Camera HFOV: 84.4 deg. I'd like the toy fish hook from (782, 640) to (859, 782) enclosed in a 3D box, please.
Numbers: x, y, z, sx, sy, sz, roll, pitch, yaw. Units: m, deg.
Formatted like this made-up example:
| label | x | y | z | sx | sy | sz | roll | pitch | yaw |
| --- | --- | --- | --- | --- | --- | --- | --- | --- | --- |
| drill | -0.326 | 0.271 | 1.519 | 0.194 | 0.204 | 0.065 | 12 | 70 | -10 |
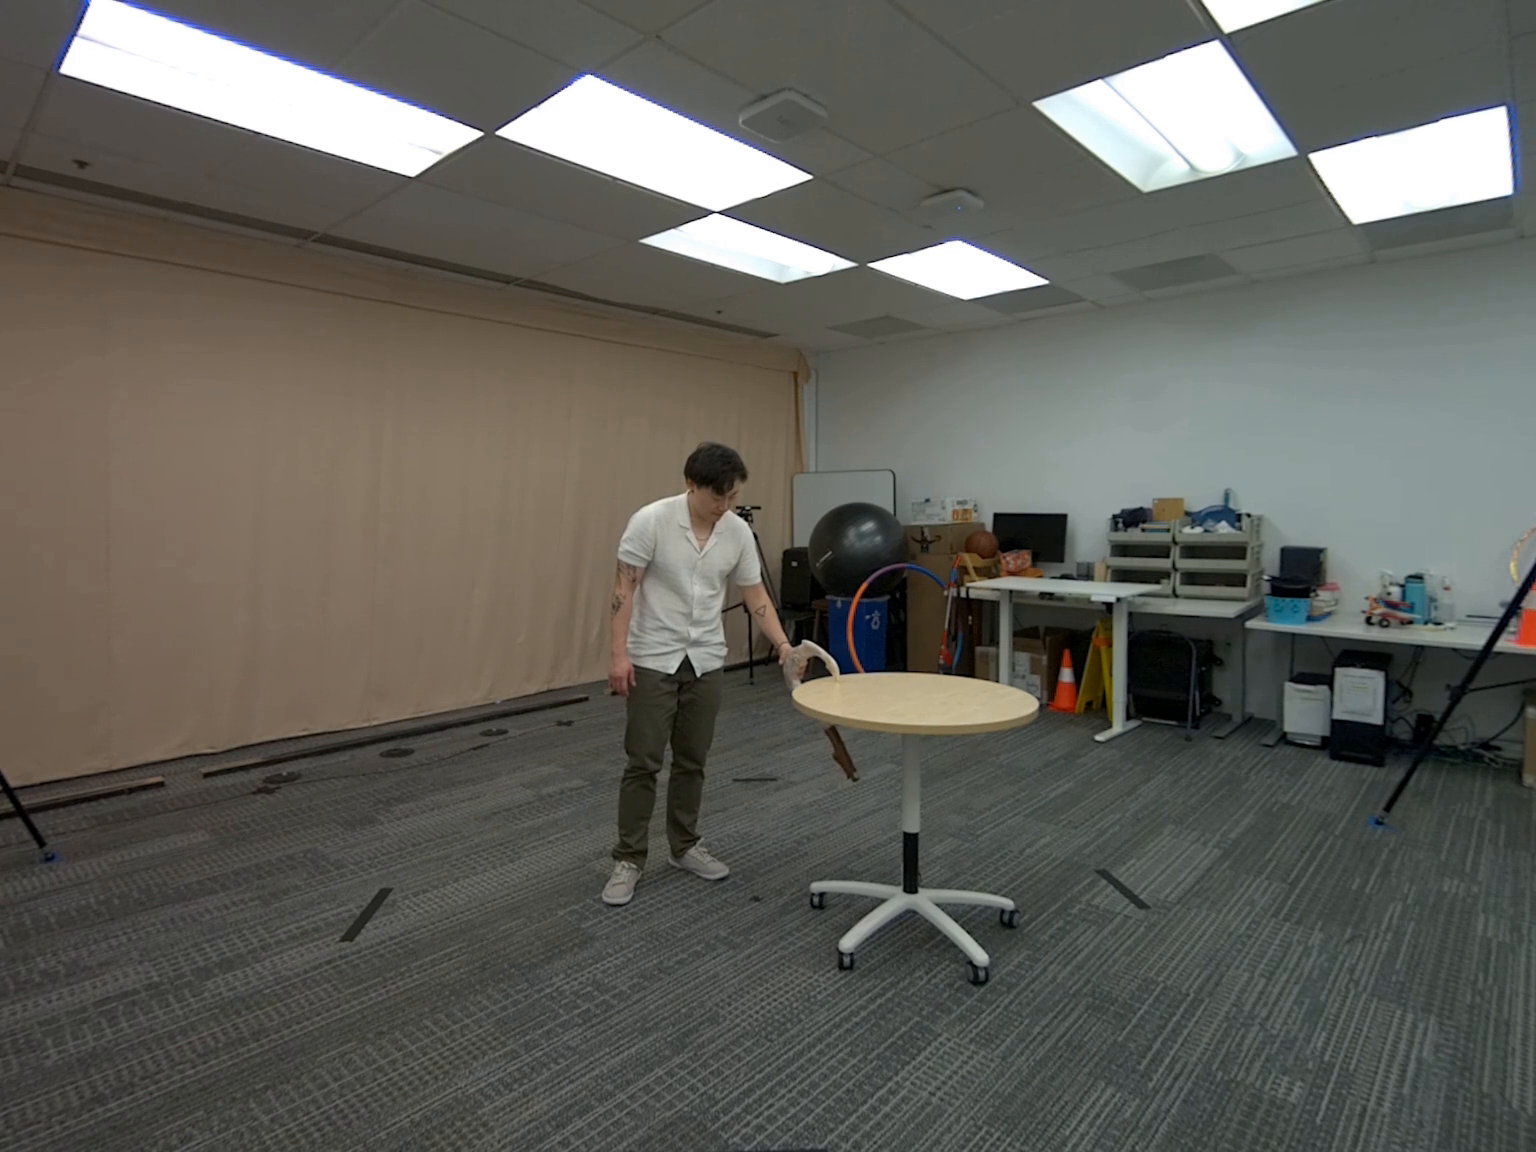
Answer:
| label | x | y | z | sx | sy | sz | roll | pitch | yaw |
| --- | --- | --- | --- | --- | --- | --- | --- | --- | --- |
| toy fish hook | 0.225 | 0.465 | 2.933 | 0.047 | 0.518 | 0.226 | -7 | -31 | -46 |
